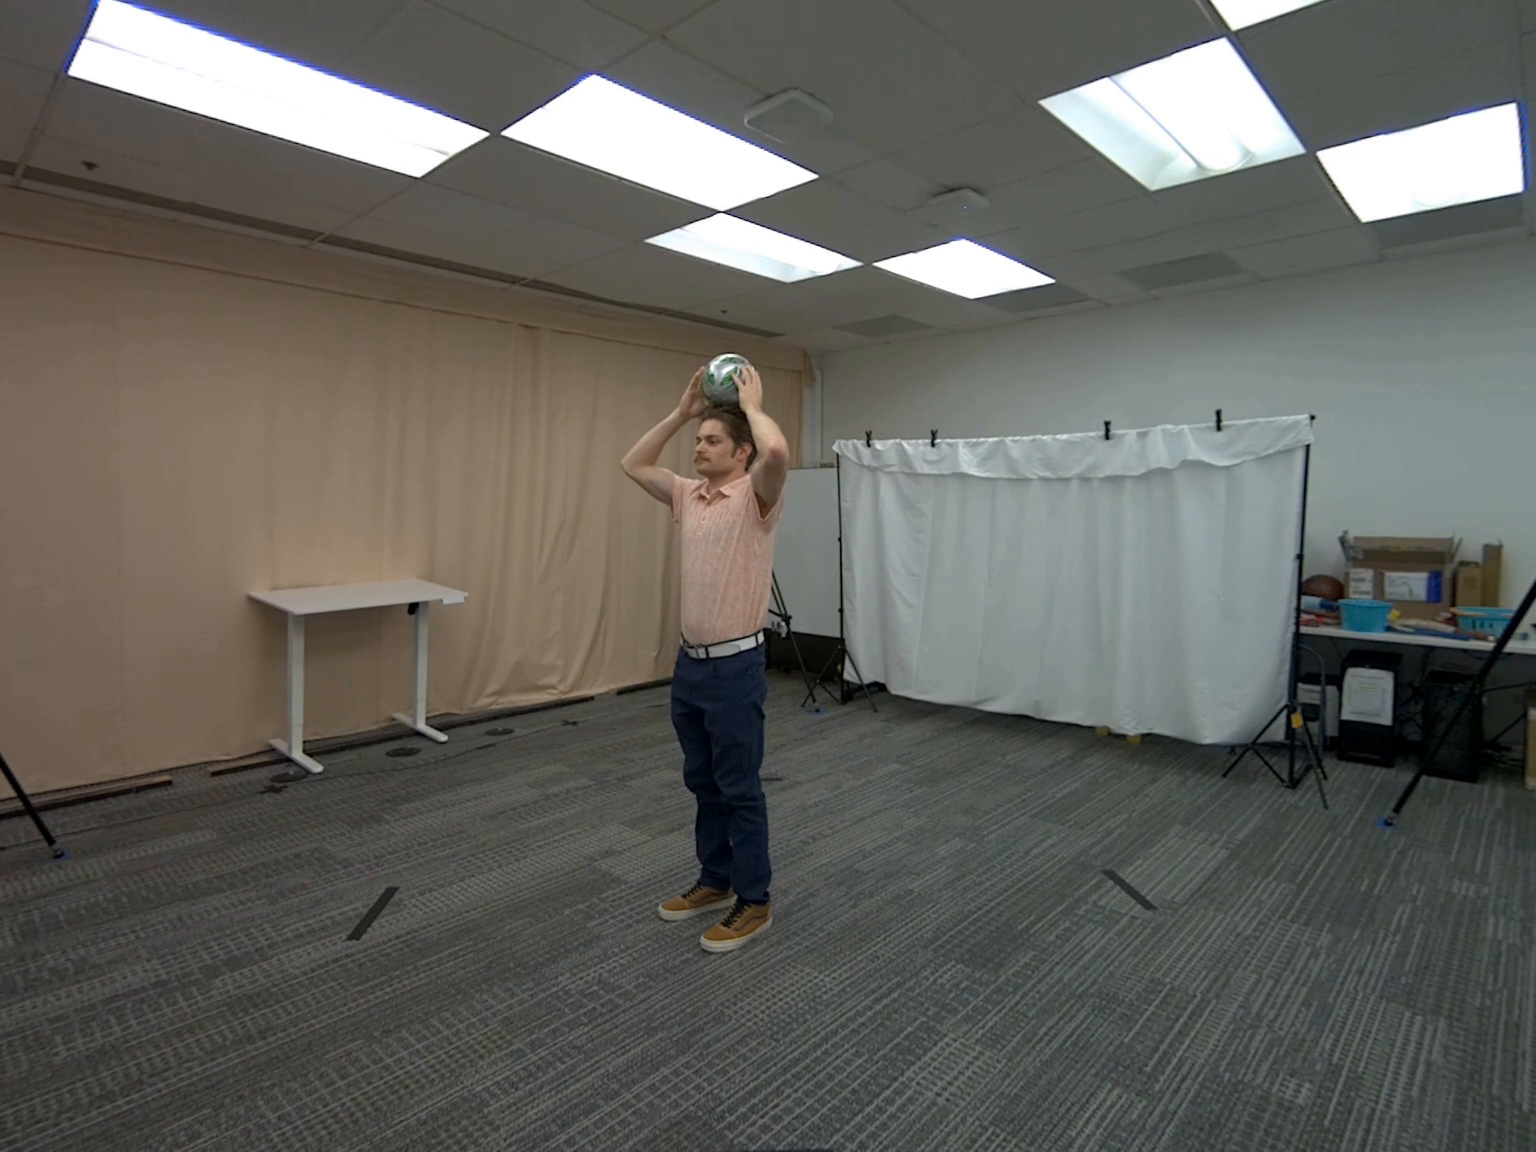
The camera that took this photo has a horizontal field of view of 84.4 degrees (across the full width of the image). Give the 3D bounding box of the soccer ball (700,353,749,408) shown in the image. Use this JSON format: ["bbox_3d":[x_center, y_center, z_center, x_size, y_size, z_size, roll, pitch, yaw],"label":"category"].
[{"bbox_3d":[-0.119,-0.629,2.775,0.187,0.187,0.188,0,4,-2],"label":"soccer ball"}]
